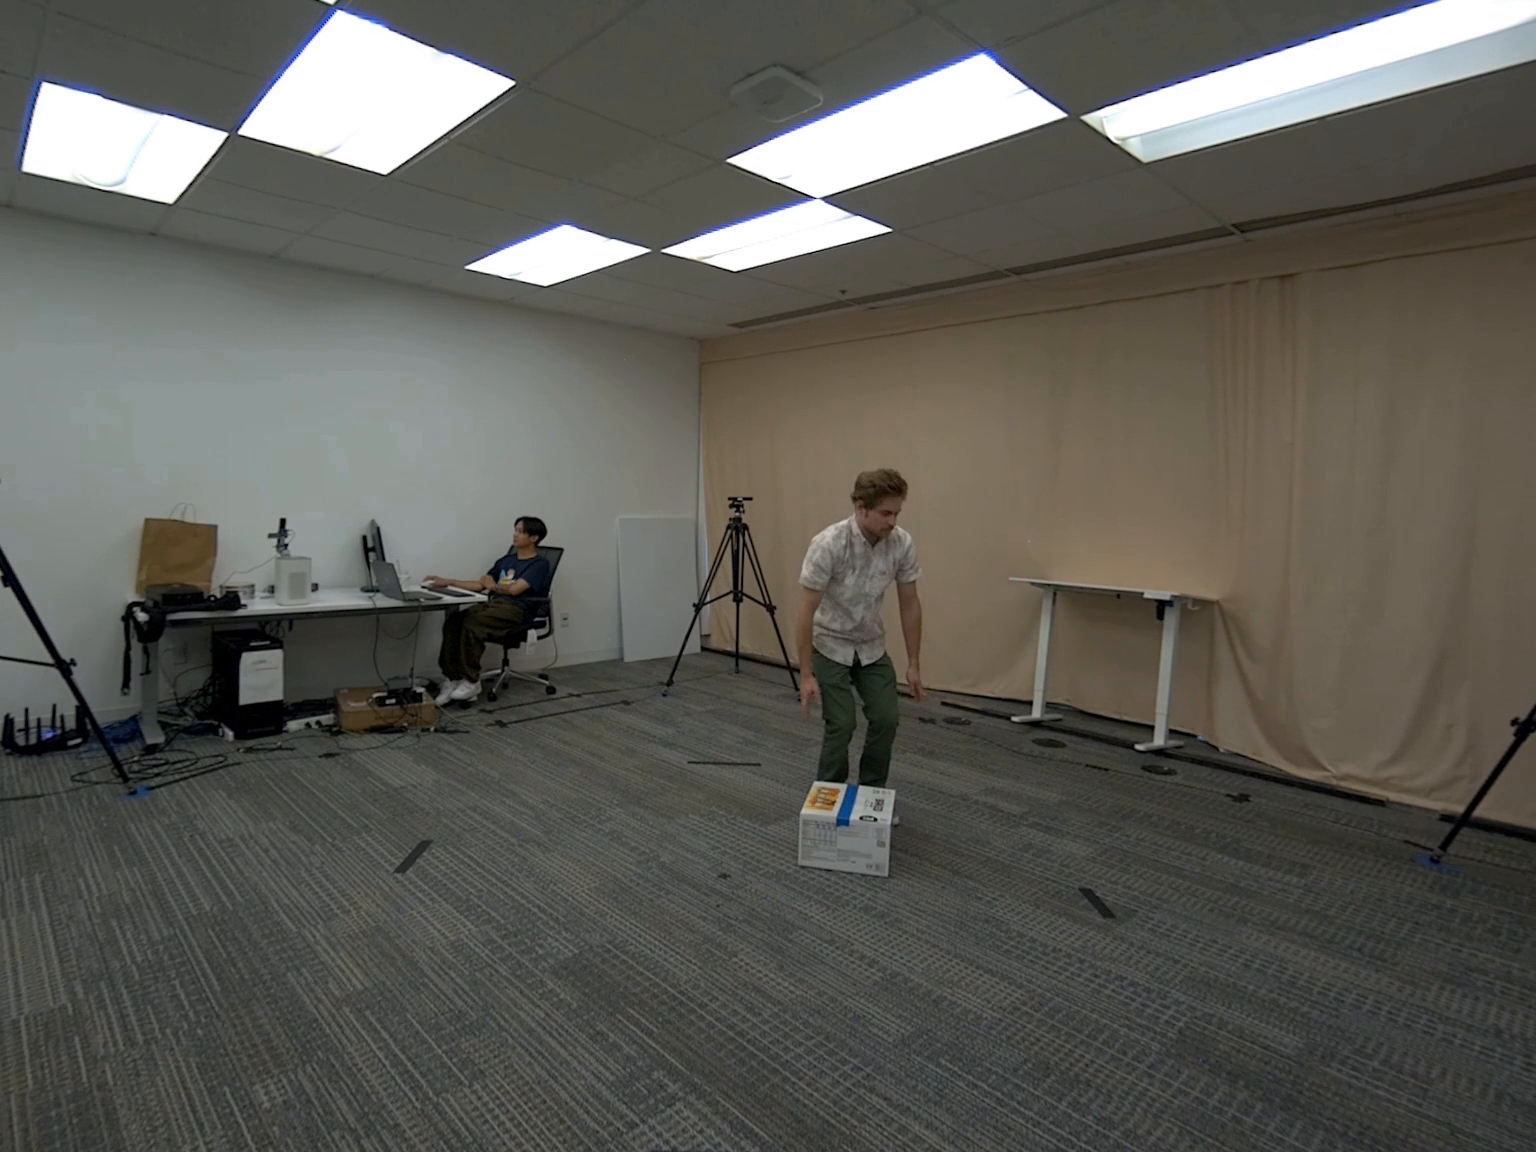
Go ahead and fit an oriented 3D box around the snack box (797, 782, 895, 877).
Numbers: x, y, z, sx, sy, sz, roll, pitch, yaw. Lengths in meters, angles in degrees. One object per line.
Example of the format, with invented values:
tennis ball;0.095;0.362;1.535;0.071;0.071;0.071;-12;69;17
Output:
snack box;0.316;0.994;3.346;0.344;0.205;0.402;2;4;12
